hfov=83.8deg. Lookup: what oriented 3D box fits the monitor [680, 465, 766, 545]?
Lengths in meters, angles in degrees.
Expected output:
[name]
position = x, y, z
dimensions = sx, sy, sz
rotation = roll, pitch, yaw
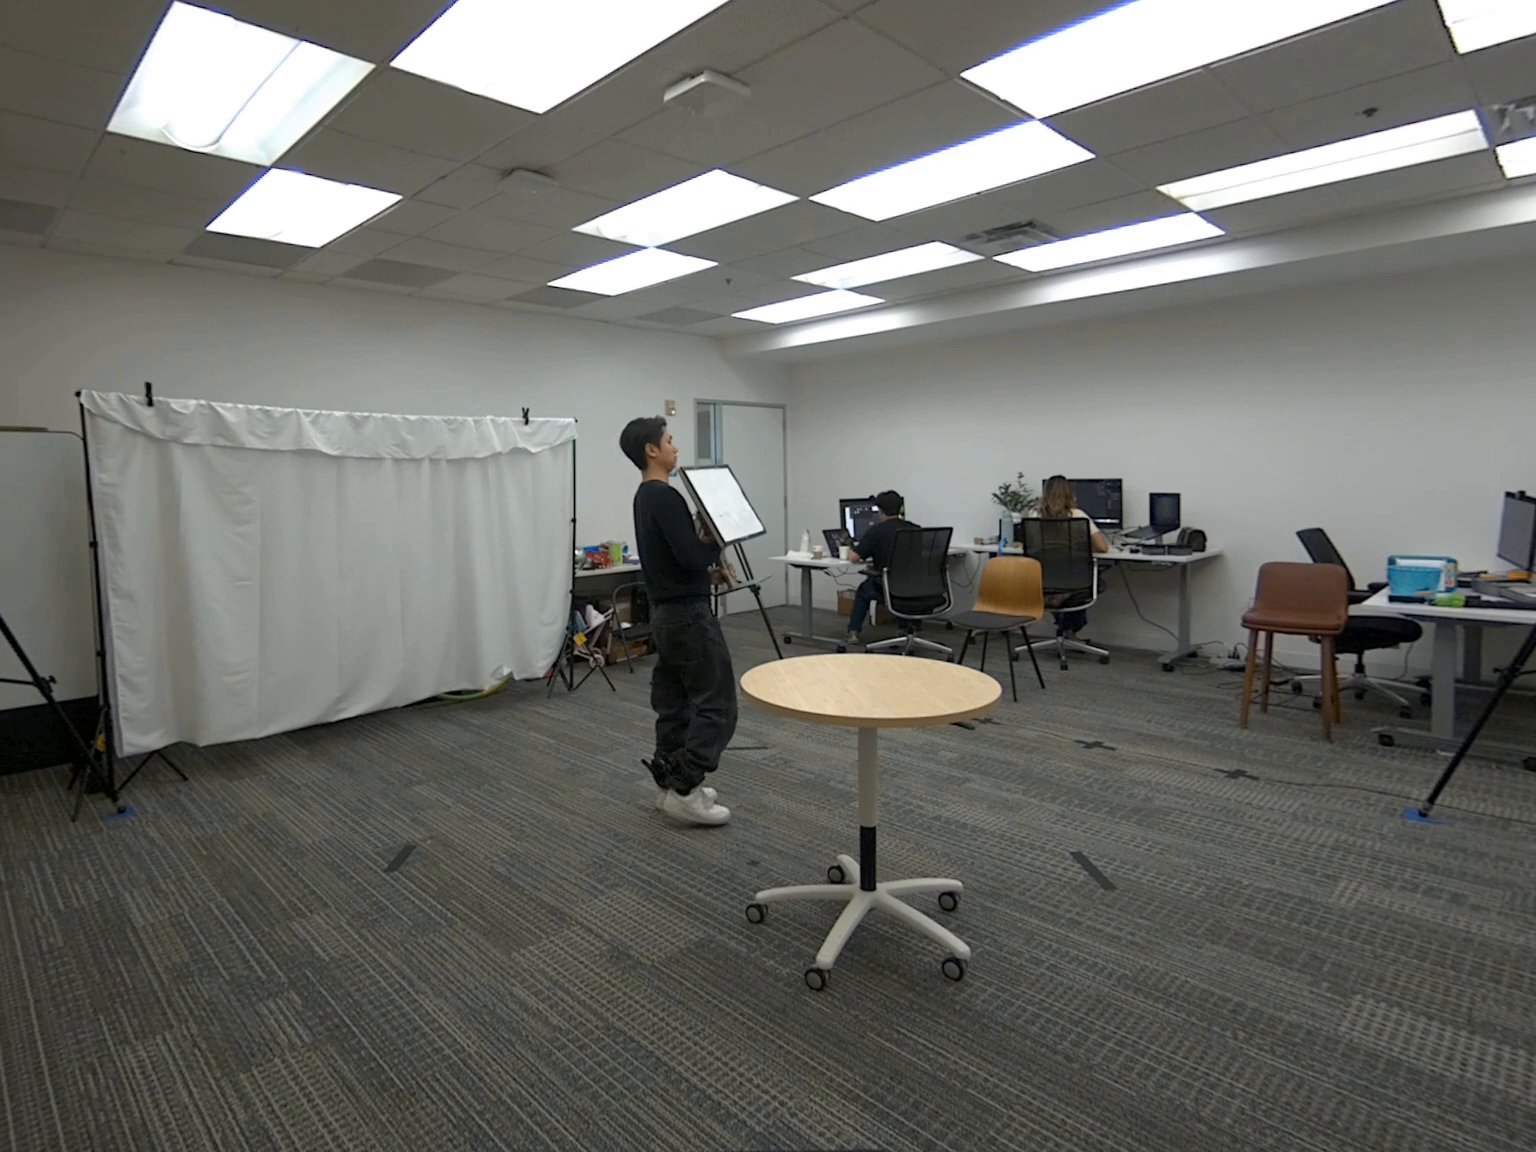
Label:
[monitor]
position = -0.179, -0.215, 3.628
dimensions = 0.177, 0.516, 0.523
rotation = -13, 2, 18
